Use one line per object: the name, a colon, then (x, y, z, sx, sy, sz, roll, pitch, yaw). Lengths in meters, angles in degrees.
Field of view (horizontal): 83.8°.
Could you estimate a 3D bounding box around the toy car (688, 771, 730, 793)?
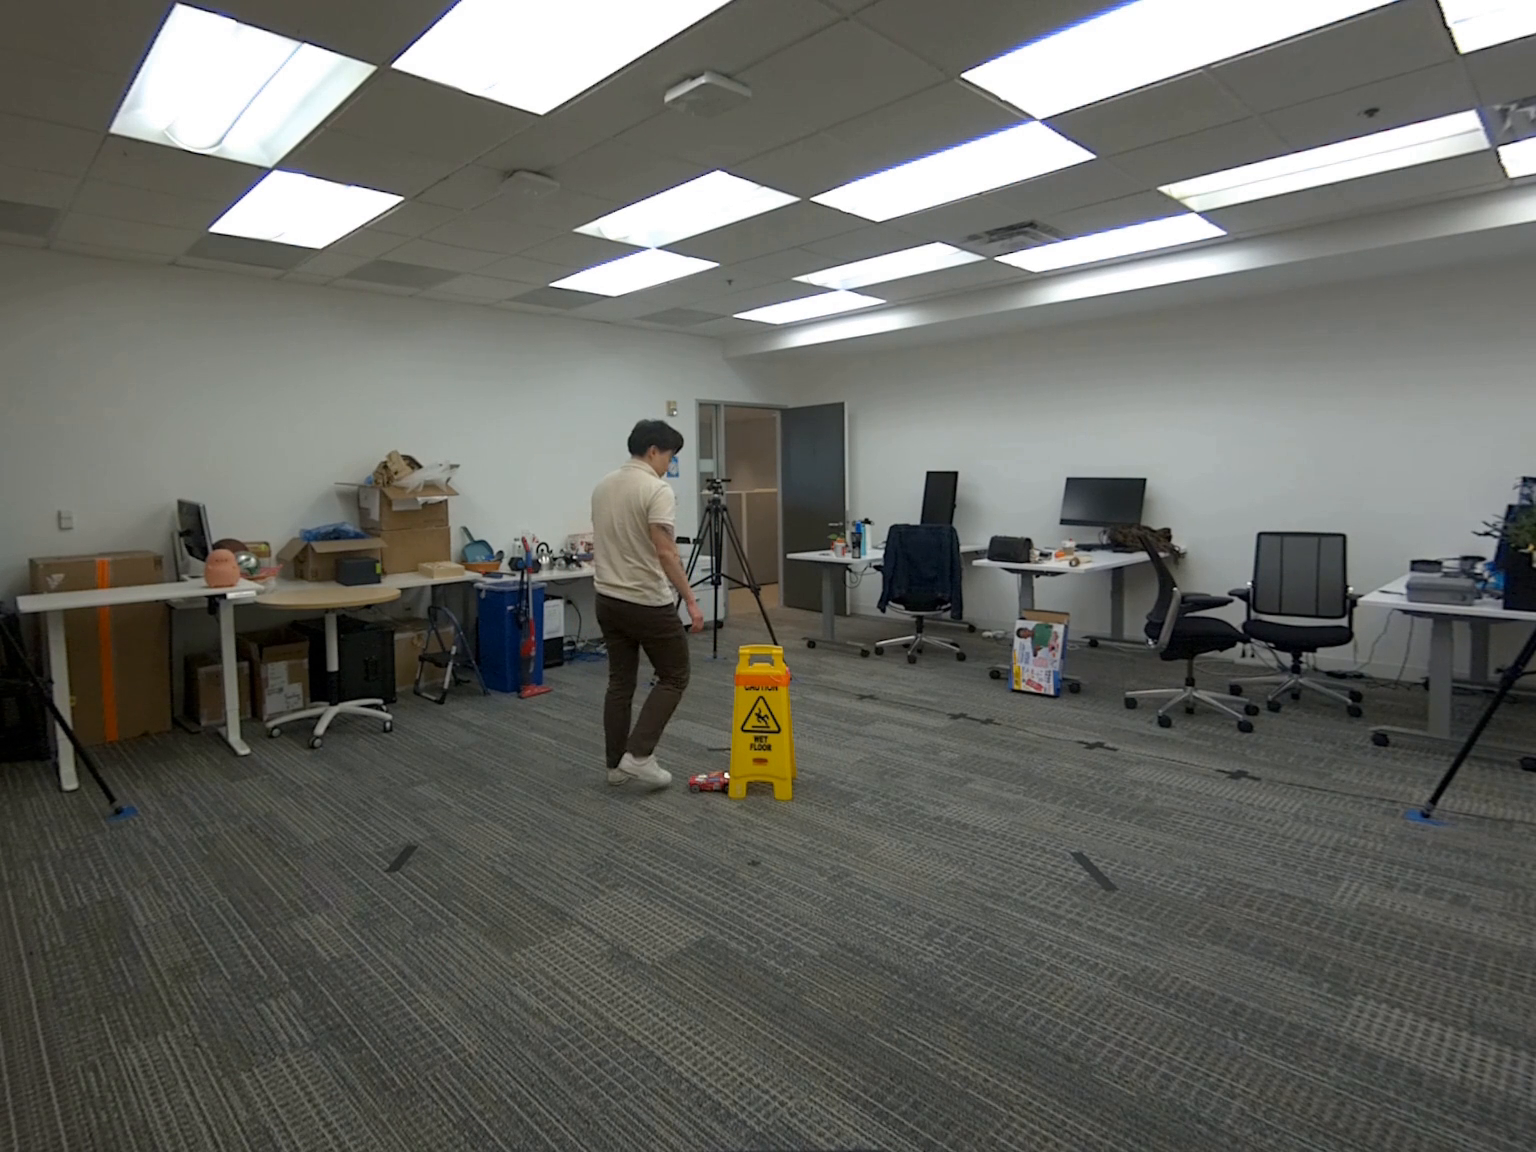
toy car: (-0.229, 0.929, 3.865, 0.256, 0.083, 0.130, -12, 4, 7)
